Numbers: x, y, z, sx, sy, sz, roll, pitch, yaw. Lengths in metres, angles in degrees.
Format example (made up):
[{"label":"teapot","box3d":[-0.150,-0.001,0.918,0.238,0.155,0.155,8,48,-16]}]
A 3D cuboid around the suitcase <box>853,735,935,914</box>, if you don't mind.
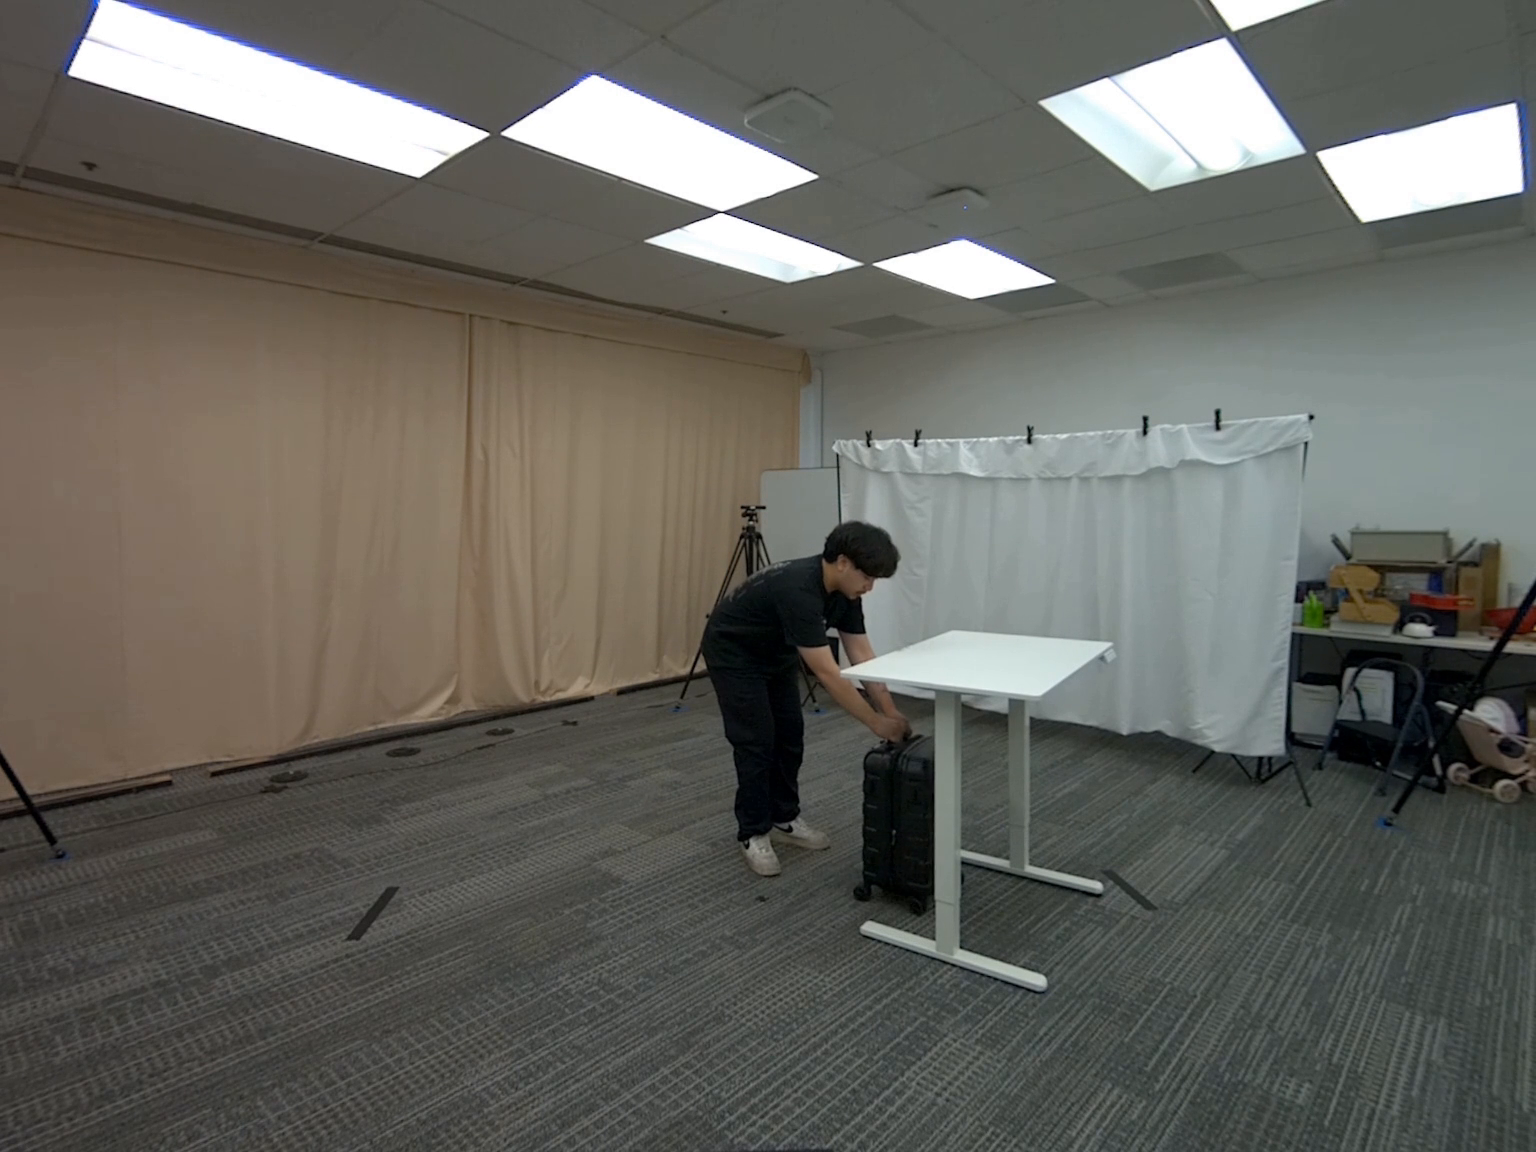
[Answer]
[{"label":"suitcase","box3d":[0.505,0.868,3.023,0.255,0.548,0.365,3,5,30]}]
